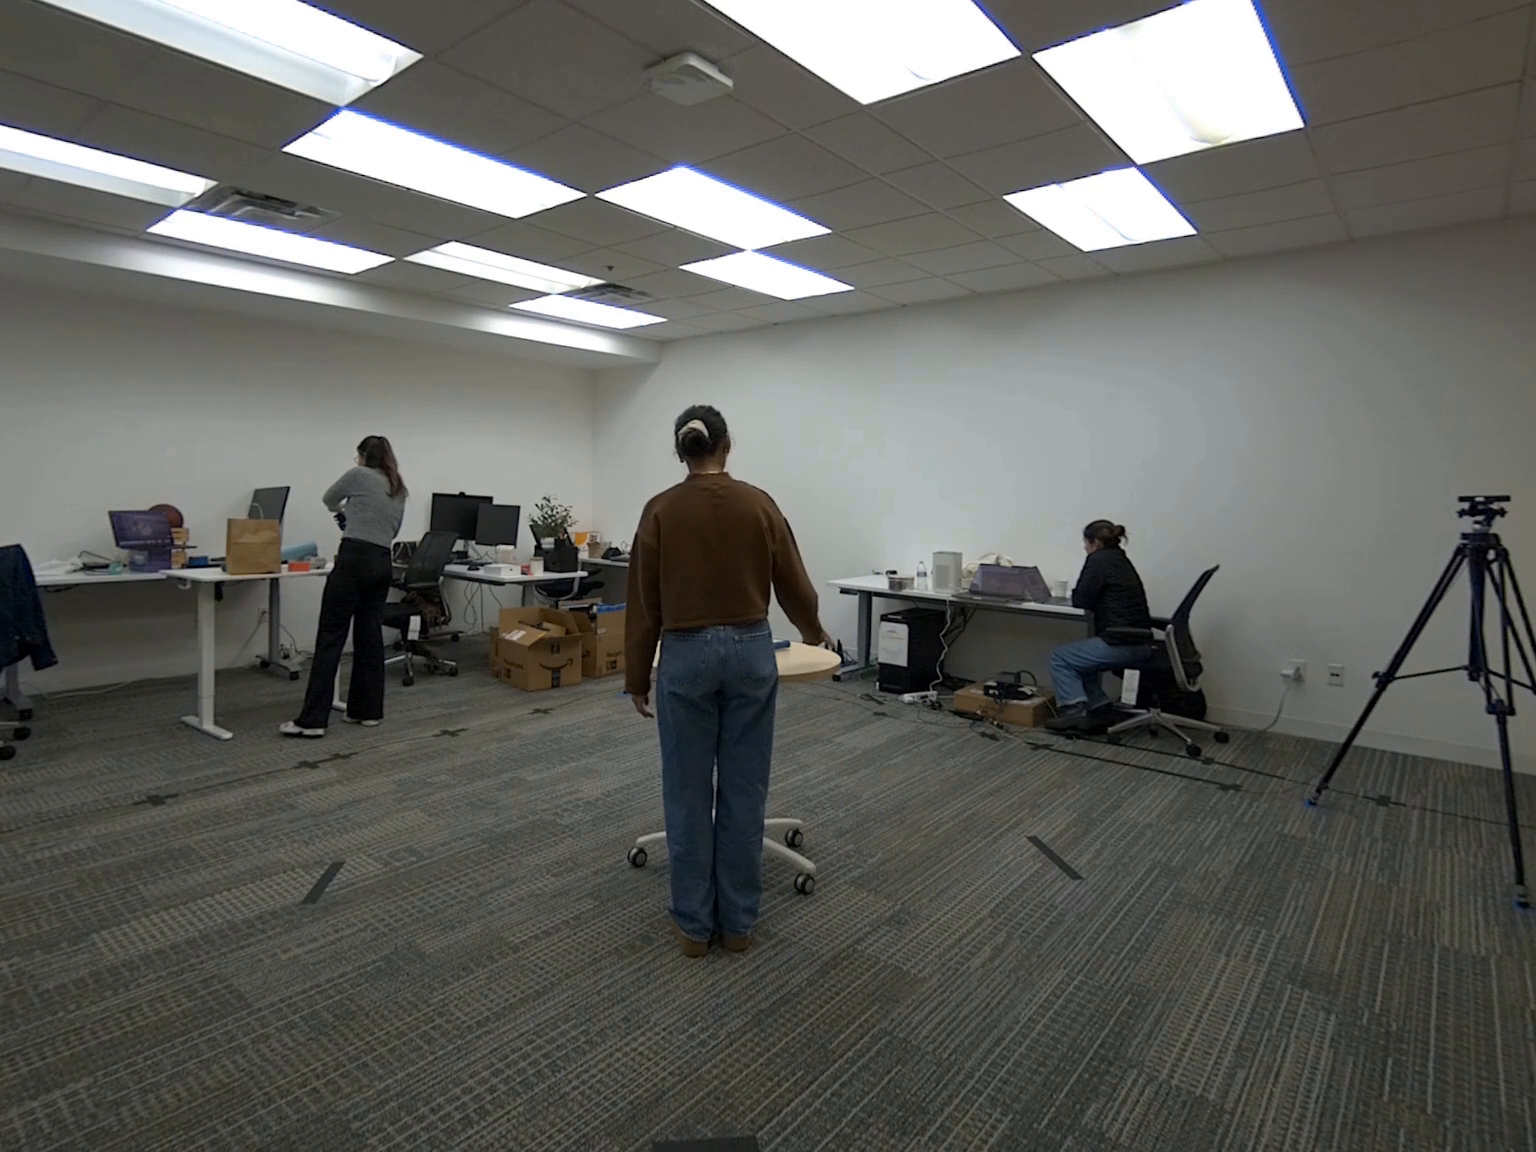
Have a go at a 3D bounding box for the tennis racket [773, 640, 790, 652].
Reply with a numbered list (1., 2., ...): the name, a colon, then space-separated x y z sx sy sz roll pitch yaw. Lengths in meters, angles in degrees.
1. tennis racket: -0.098 0.276 3.109 0.420 0.031 0.221 -5 8 -38
